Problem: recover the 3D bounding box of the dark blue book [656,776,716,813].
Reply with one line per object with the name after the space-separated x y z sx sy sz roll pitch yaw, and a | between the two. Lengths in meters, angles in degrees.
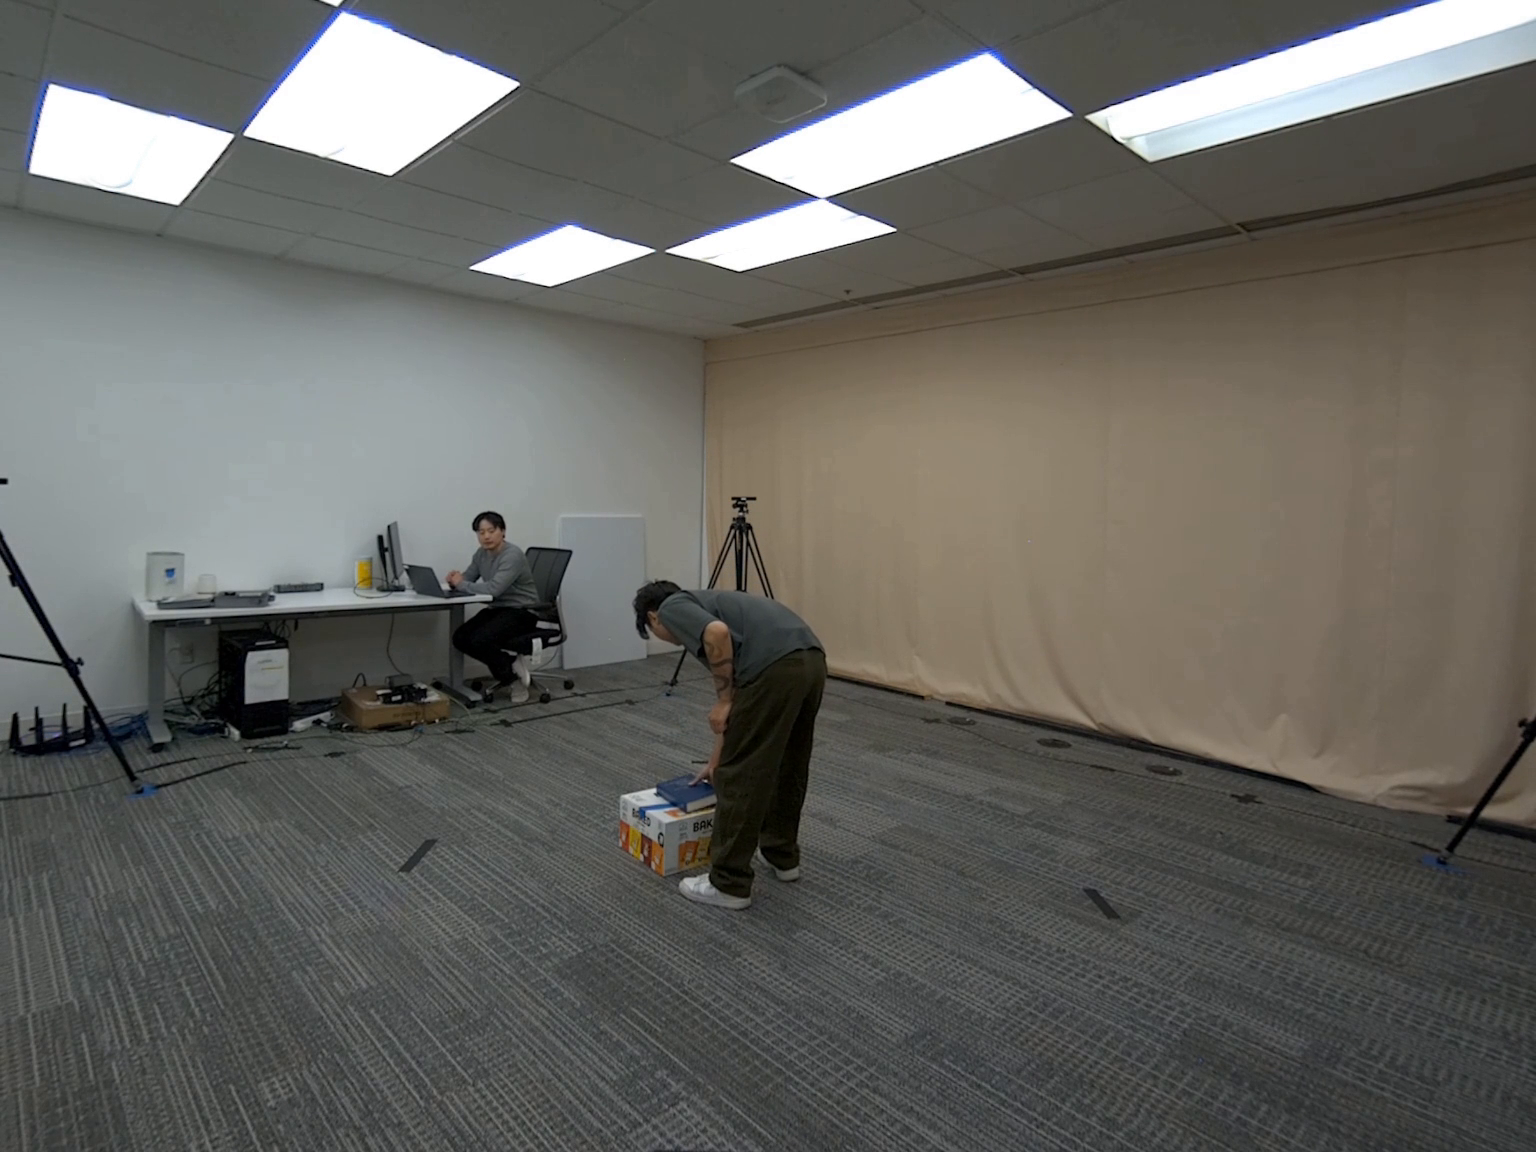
-0.332 0.864 3.335 0.160 0.045 0.251 -8 10 -33 | dark blue book
